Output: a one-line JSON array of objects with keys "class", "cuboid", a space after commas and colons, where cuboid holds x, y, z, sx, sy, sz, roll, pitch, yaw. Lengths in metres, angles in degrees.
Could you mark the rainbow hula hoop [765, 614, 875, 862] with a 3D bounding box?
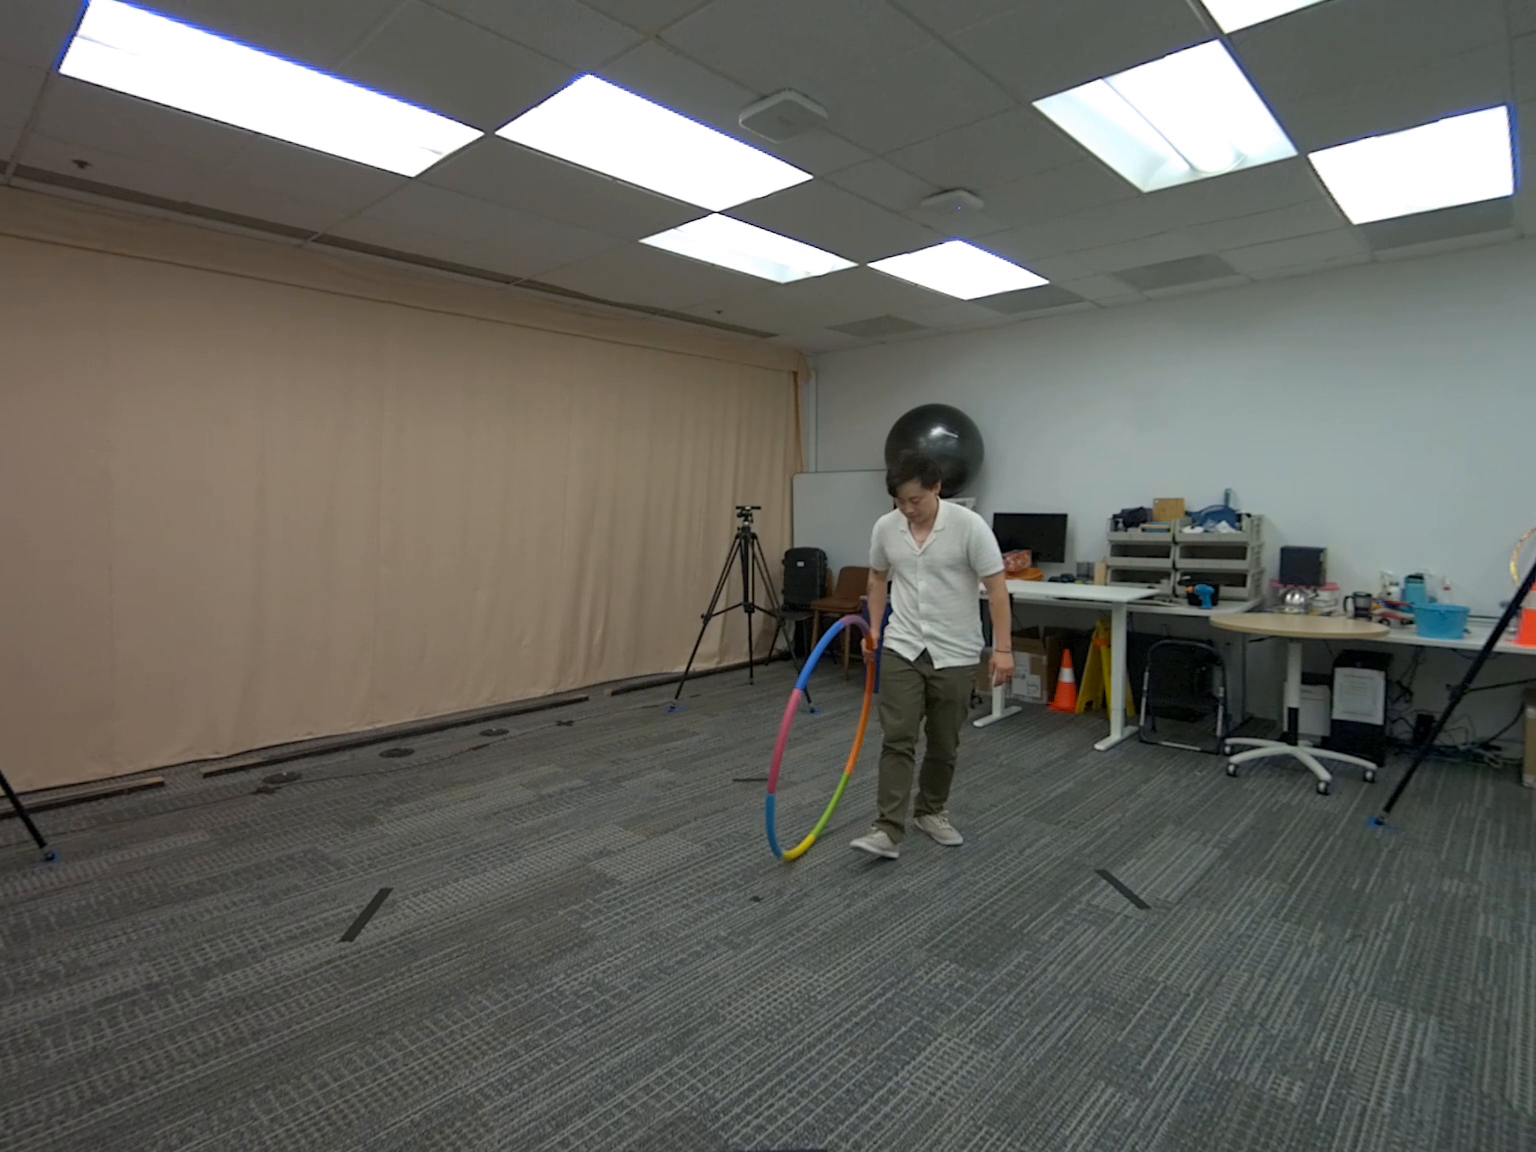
[{"class": "rainbow hula hoop", "cuboid": [0.225, 0.640, 3.320, 0.036, 0.975, 0.955, 14, 10, 24]}]
